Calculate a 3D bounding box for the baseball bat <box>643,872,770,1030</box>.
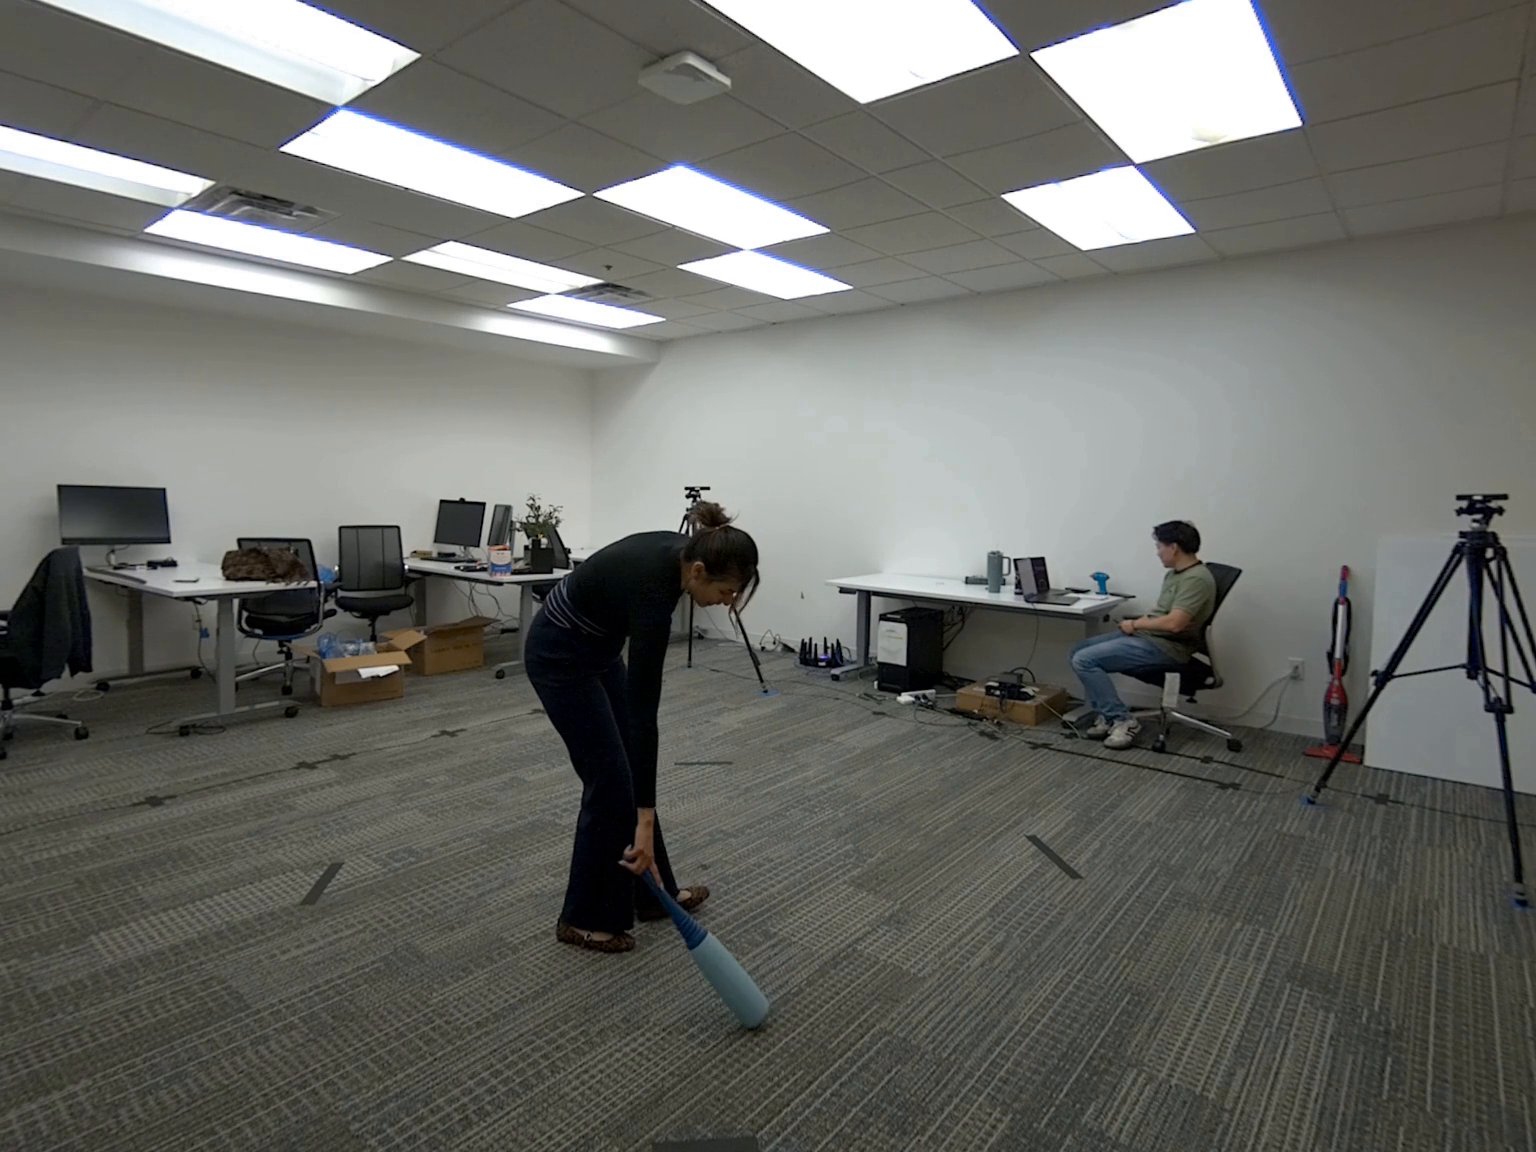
[{"bbox_3d":[-0.202,0.933,2.220,0.089,0.545,0.089,-39,-3,-3],"label":"baseball bat"}]
